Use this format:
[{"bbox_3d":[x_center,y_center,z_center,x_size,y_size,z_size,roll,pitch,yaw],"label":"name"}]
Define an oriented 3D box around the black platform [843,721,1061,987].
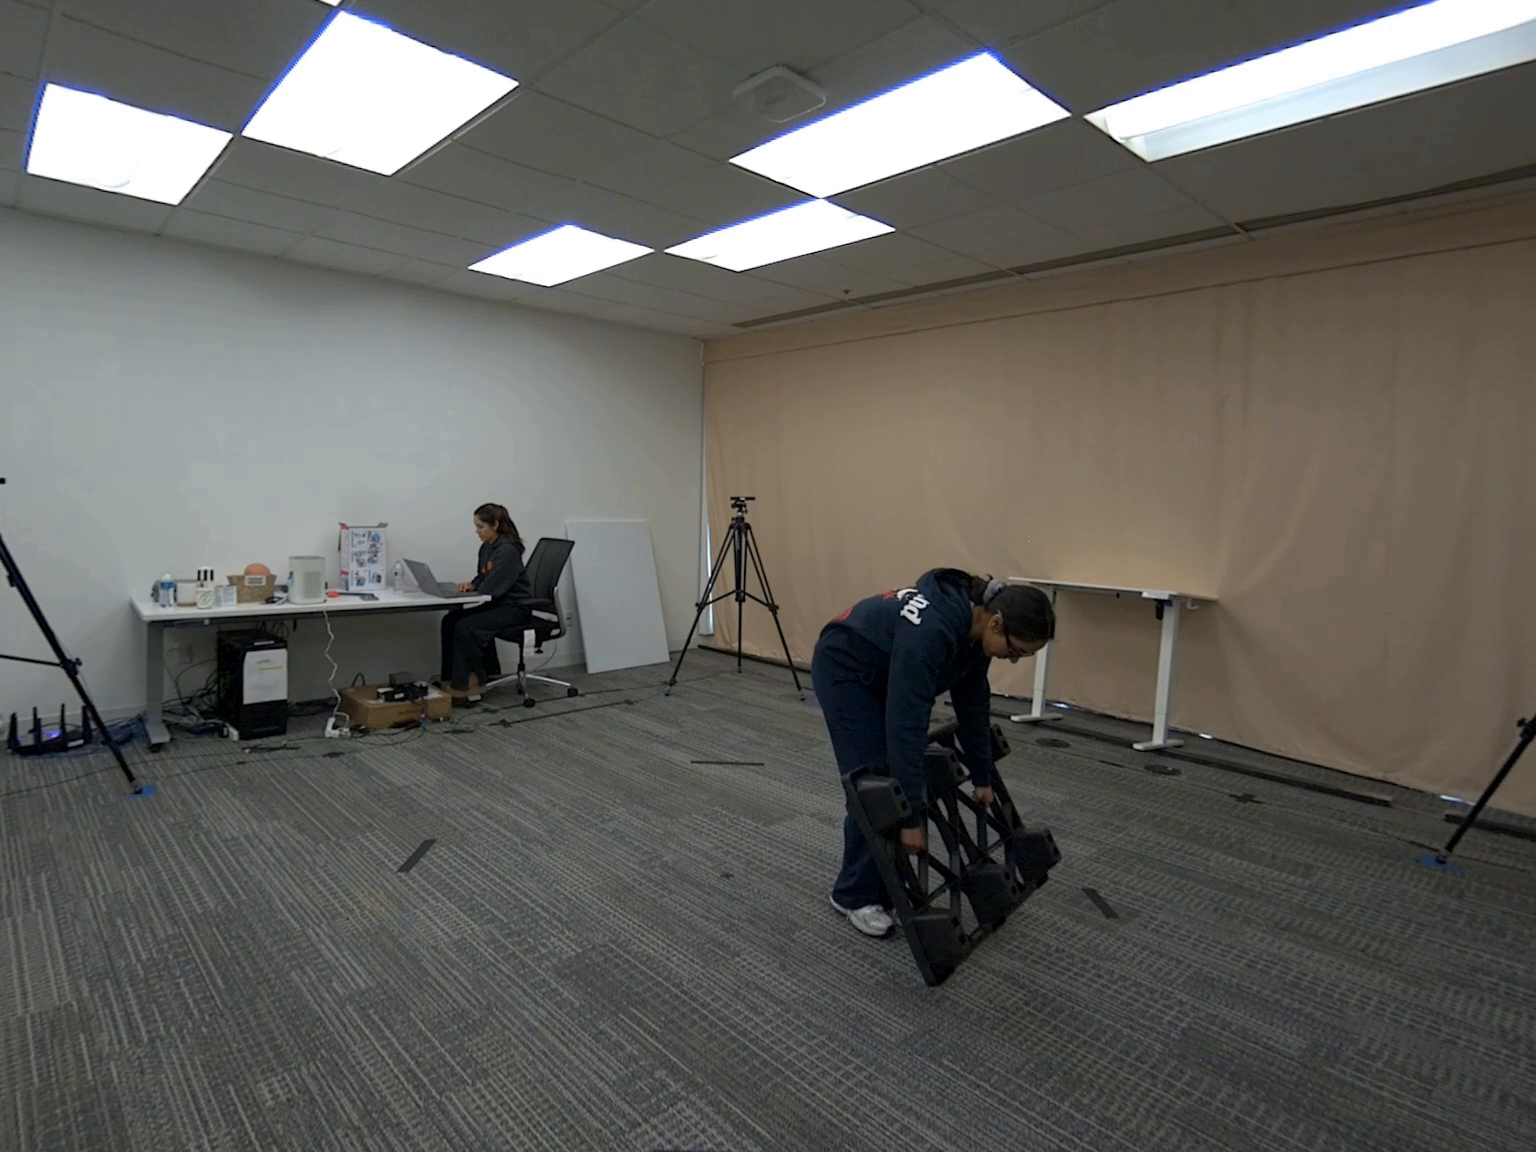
[{"bbox_3d":[0.616,0.791,2.617,0.144,0.612,0.789,-32,-15,37],"label":"black platform"}]
